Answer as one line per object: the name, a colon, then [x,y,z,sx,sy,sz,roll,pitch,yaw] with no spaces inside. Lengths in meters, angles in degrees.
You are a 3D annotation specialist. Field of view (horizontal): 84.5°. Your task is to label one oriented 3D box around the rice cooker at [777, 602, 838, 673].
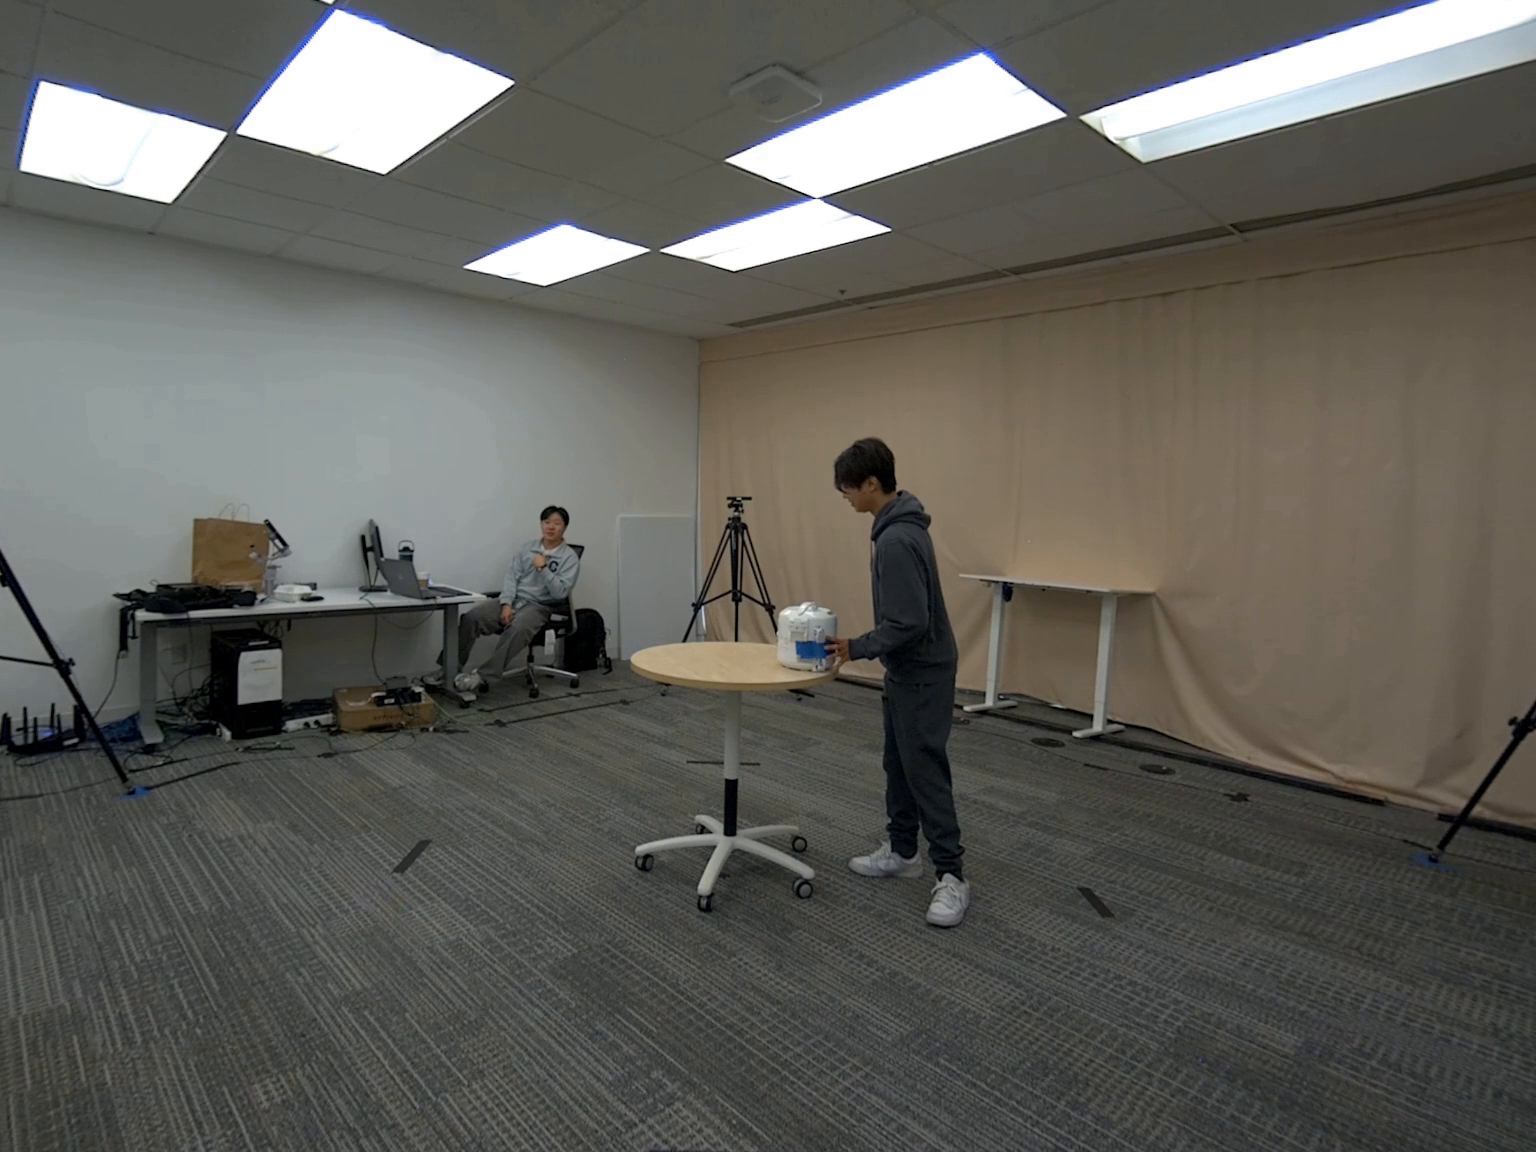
rice cooker: [0.137,0.208,3.015,0.221,0.232,0.217,4,4,24]
